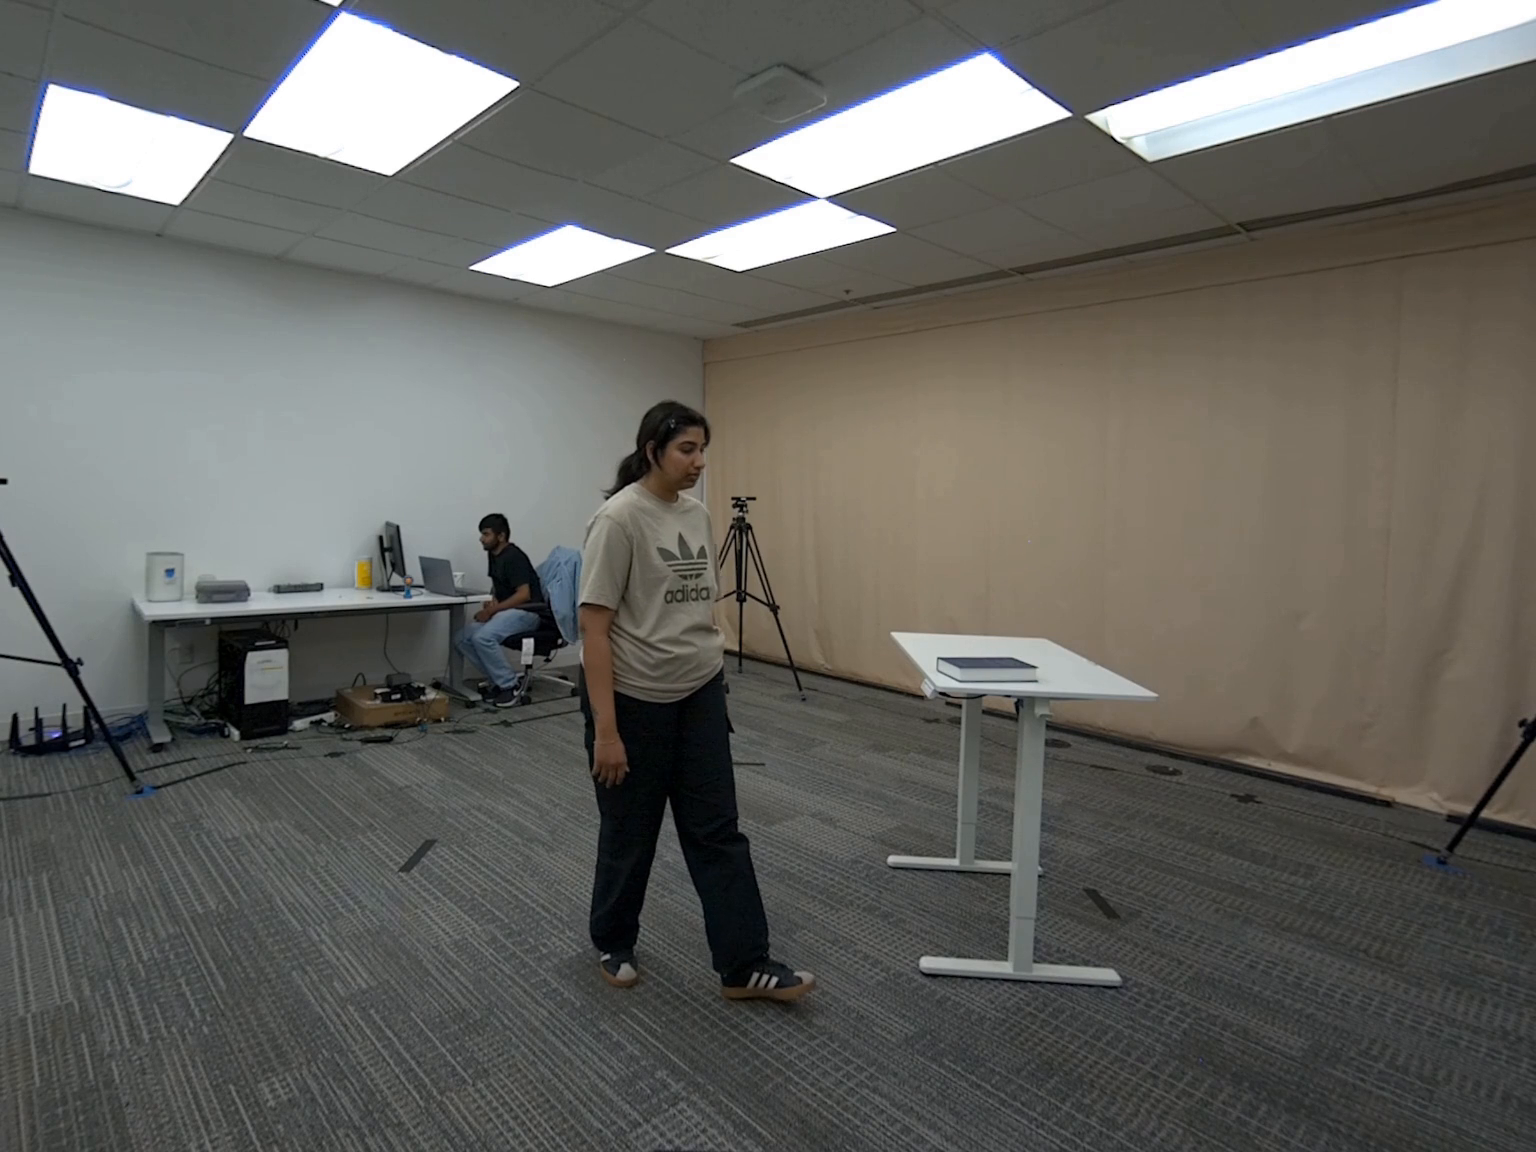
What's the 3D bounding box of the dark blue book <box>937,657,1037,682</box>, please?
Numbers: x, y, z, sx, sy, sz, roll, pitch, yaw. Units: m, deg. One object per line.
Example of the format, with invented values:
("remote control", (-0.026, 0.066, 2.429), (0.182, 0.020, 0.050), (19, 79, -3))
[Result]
("dark blue book", (0.655, 0.280, 2.484), (0.243, 0.045, 0.165), (2, 5, -10))
